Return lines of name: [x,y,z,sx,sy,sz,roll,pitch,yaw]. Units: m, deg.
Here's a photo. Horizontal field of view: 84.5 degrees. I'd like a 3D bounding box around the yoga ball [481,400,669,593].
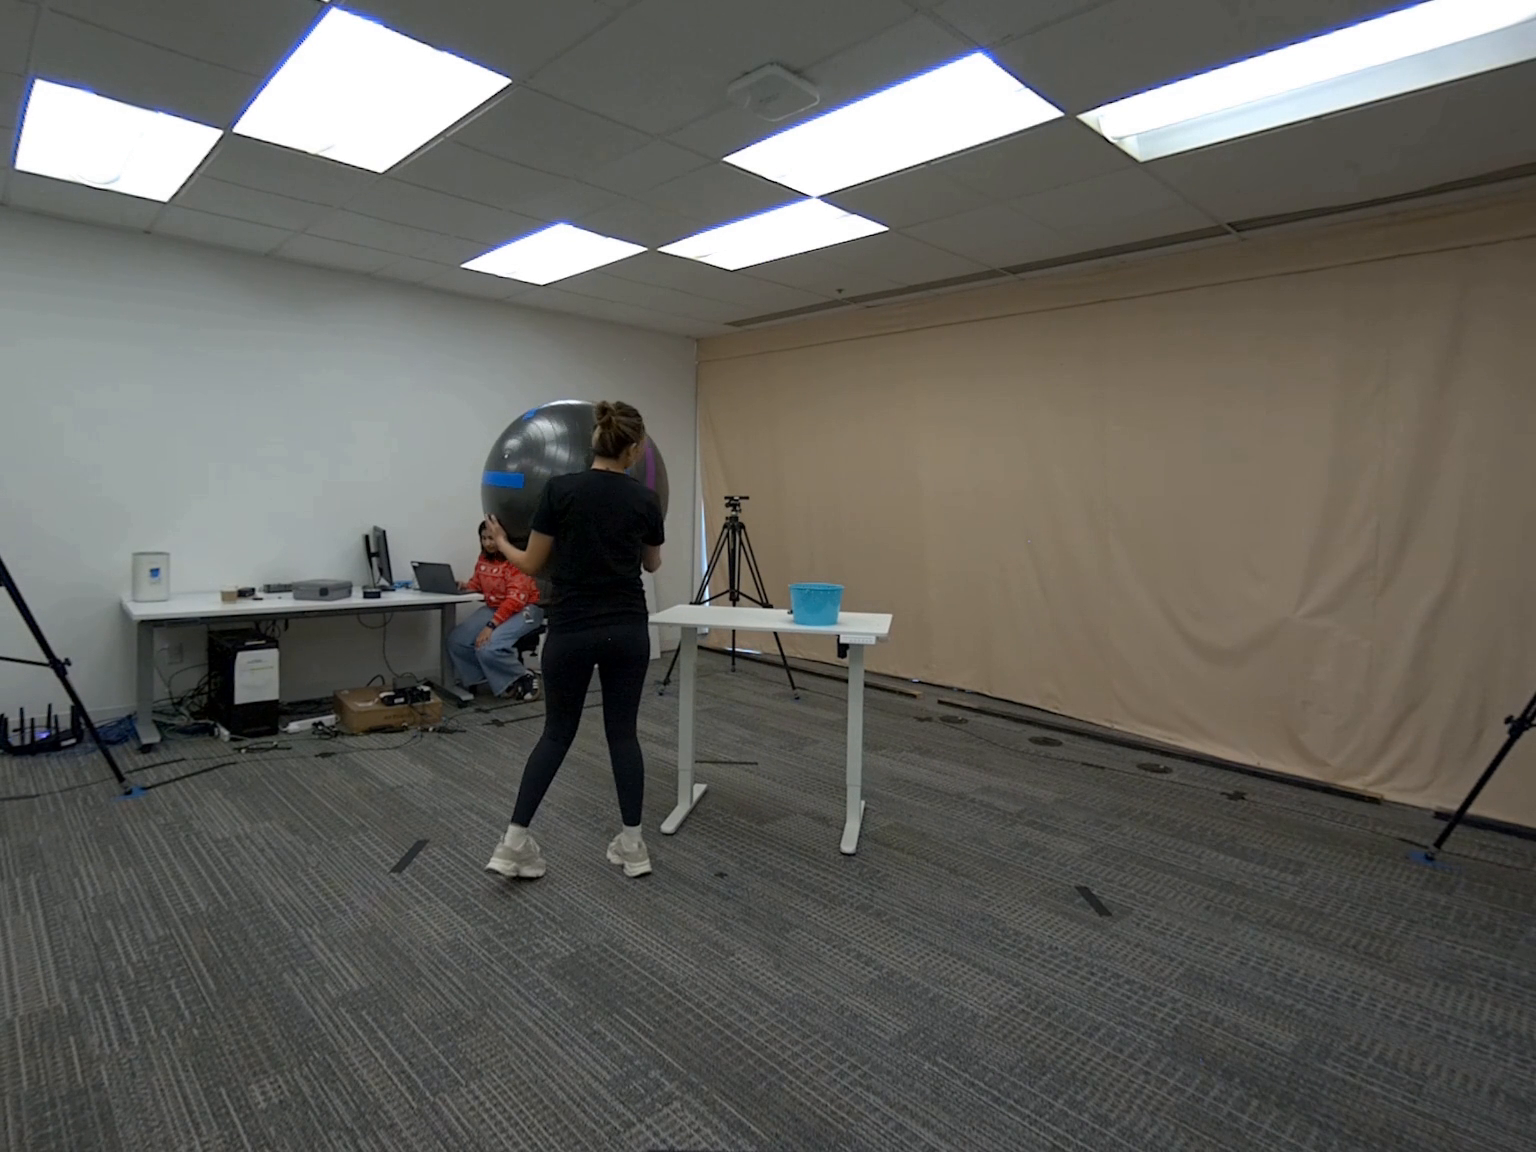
yoga ball: [-0.788,-0.338,3.445,0.757,0.756,0.761,1,4,-1]
